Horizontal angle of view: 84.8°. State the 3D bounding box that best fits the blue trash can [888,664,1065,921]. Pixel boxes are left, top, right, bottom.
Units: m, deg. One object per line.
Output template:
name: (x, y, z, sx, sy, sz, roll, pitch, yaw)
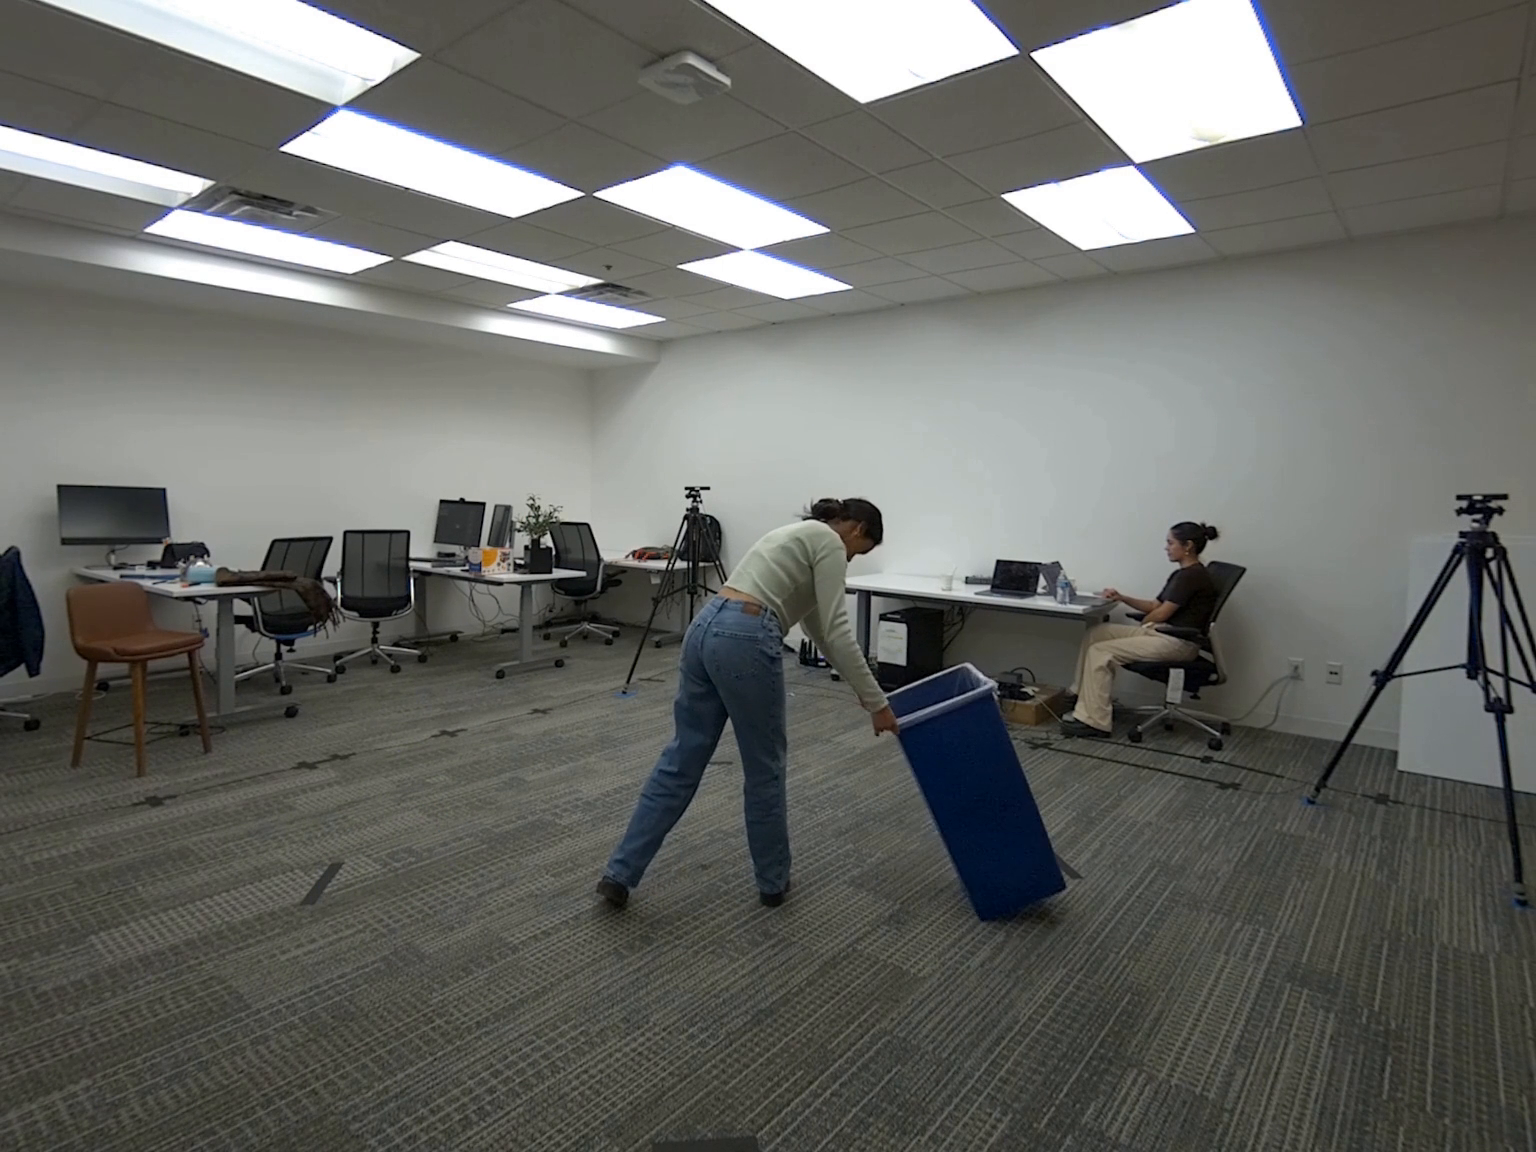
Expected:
blue trash can: (0.663, 0.722, 2.889, 0.375, 0.712, 0.378, -22, 2, 2)
